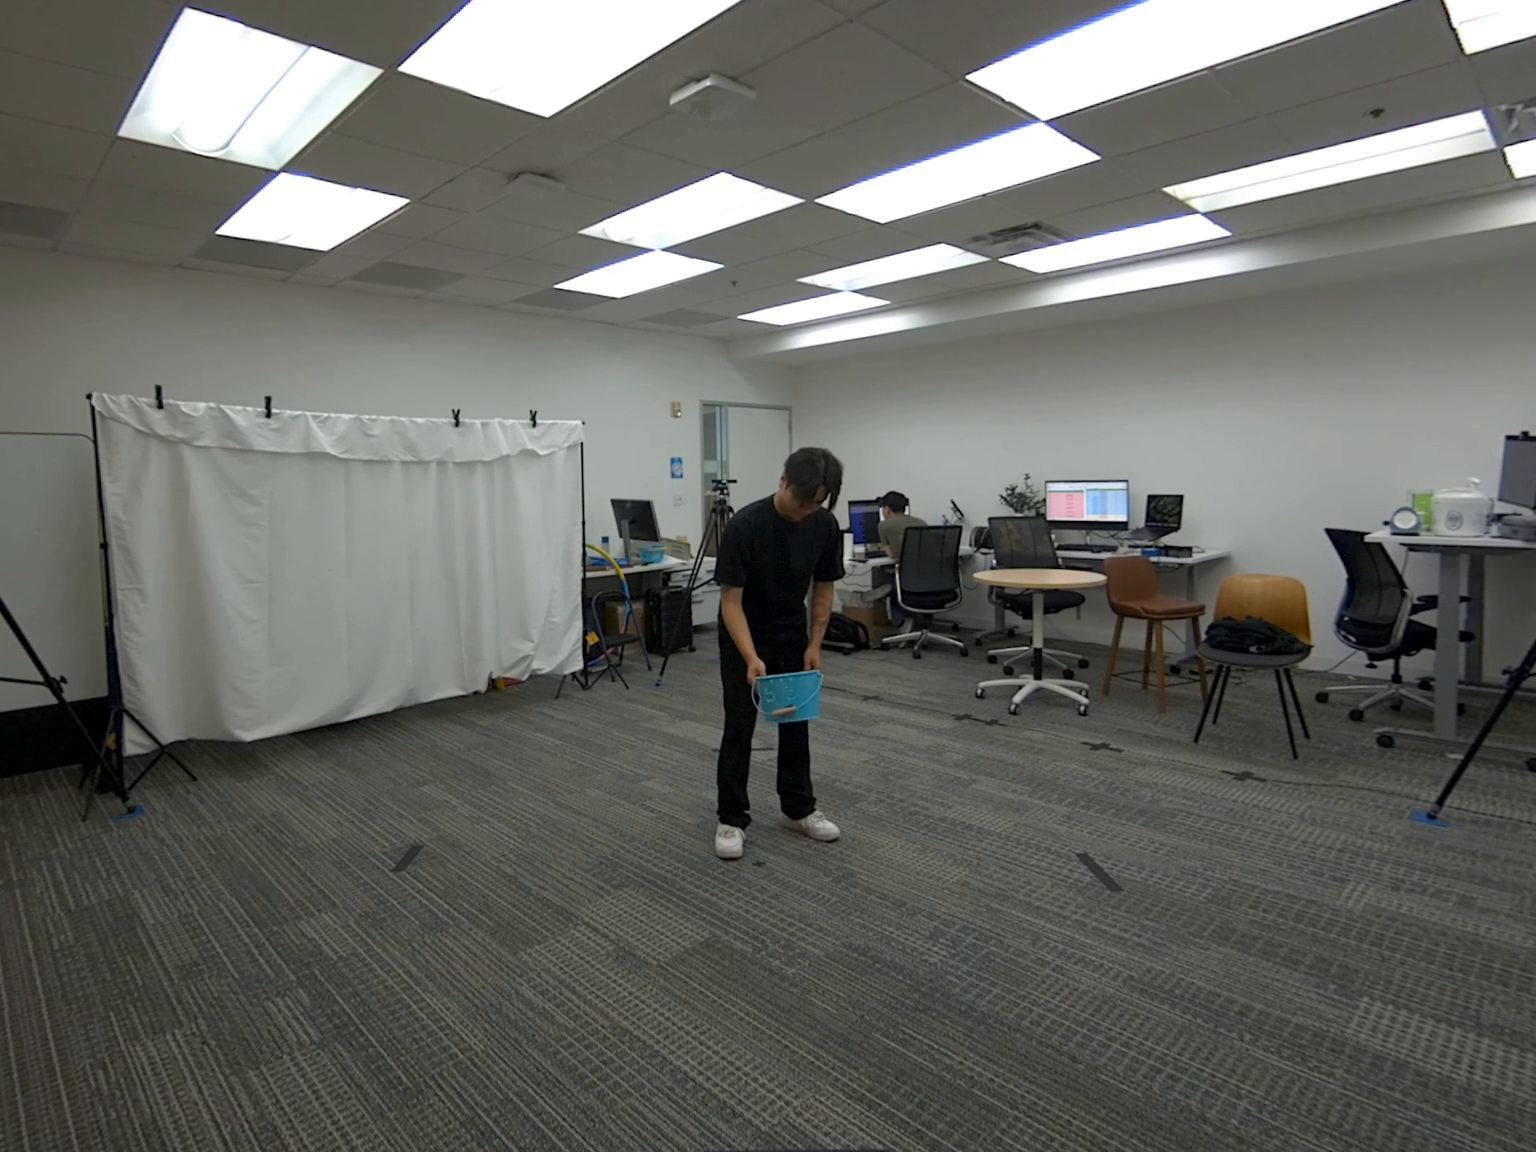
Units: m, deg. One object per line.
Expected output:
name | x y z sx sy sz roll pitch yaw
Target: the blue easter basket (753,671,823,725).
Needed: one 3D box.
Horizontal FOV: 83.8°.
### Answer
blue easter basket | 0.073 0.418 2.885 0.243 0.157 0.242 -6 -5 -2
